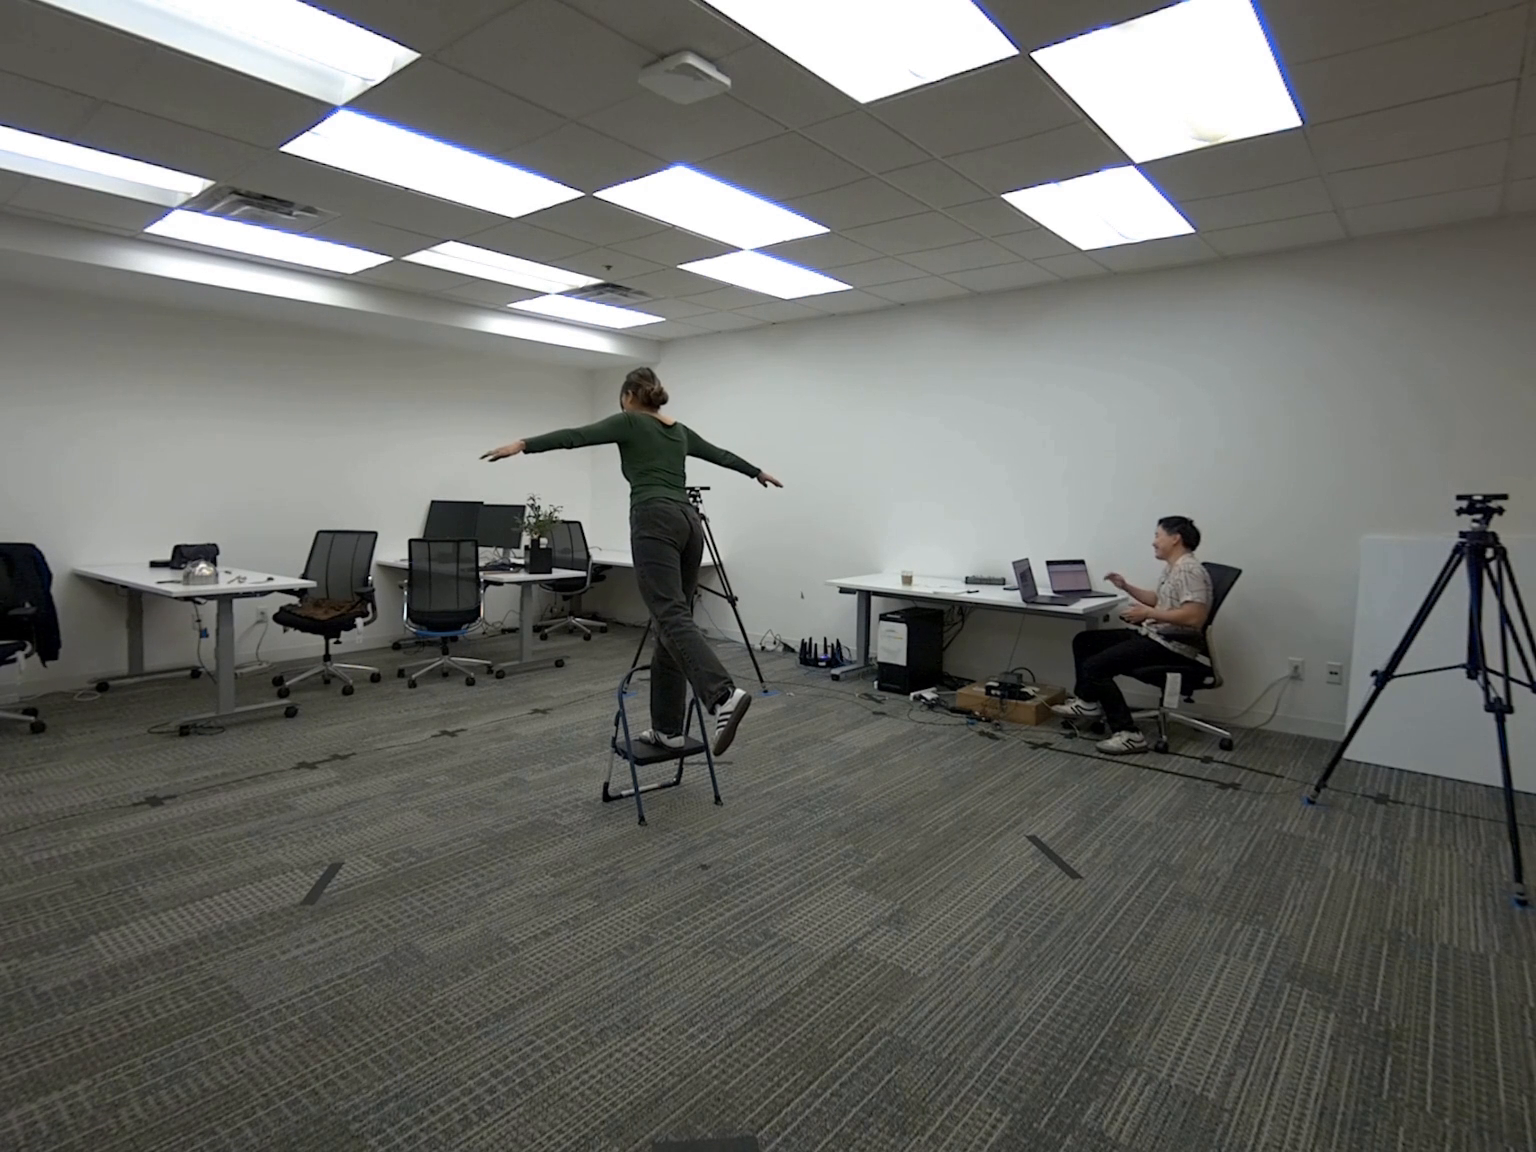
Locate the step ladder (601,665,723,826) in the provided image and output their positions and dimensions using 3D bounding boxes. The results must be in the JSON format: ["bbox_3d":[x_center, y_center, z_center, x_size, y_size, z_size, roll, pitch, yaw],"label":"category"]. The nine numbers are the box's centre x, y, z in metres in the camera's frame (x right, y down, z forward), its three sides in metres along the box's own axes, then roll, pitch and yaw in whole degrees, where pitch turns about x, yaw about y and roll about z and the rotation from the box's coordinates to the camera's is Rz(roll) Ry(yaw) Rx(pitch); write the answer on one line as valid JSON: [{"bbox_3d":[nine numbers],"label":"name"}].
[{"bbox_3d":[-0.477,0.698,3.740,0.418,0.604,0.361,-2,4,-40],"label":"step ladder"}]
